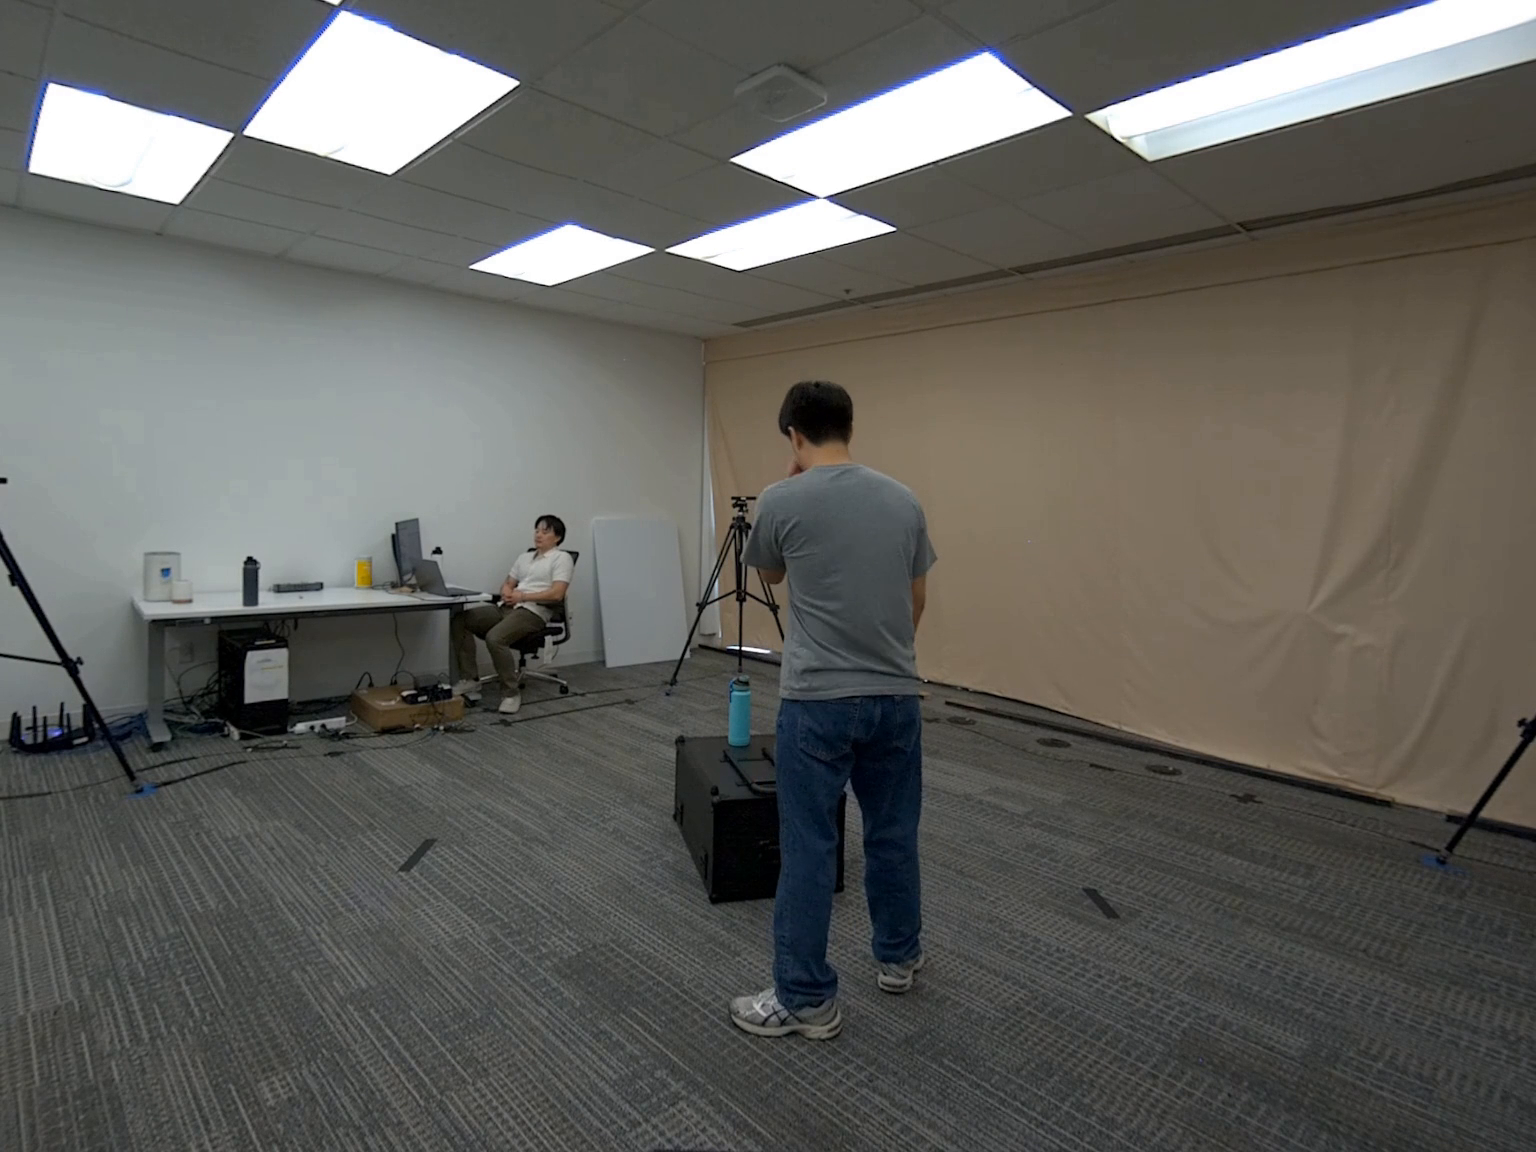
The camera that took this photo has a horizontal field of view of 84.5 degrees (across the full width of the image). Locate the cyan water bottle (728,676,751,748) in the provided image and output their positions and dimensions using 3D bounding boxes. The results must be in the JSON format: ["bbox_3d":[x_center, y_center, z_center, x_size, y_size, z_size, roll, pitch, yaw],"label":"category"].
[{"bbox_3d":[-0.129,0.566,3.556,0.092,0.282,0.092,-1,4,-1],"label":"cyan water bottle"}]
